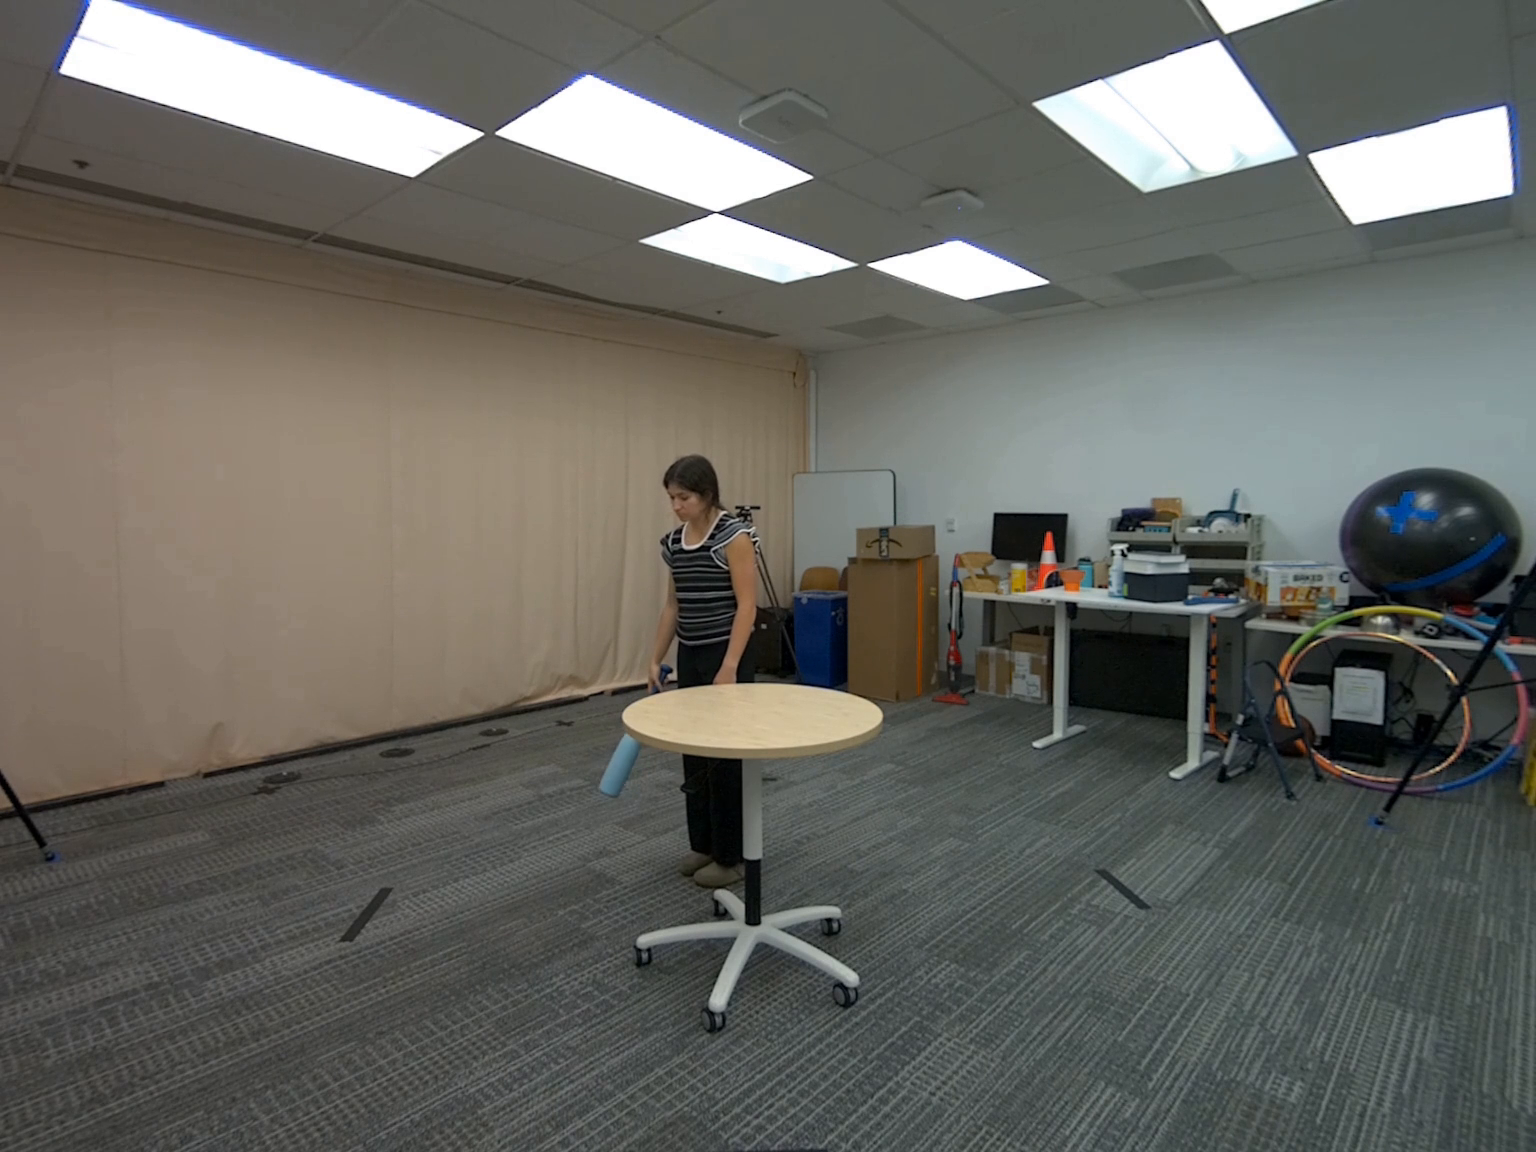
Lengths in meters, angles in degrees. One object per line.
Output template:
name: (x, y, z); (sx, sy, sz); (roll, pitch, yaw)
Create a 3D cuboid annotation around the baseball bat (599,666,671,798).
baseball bat: (-0.498, 0.606, 3.280); (0.089, 0.544, 0.088); (23, -13, 4)
